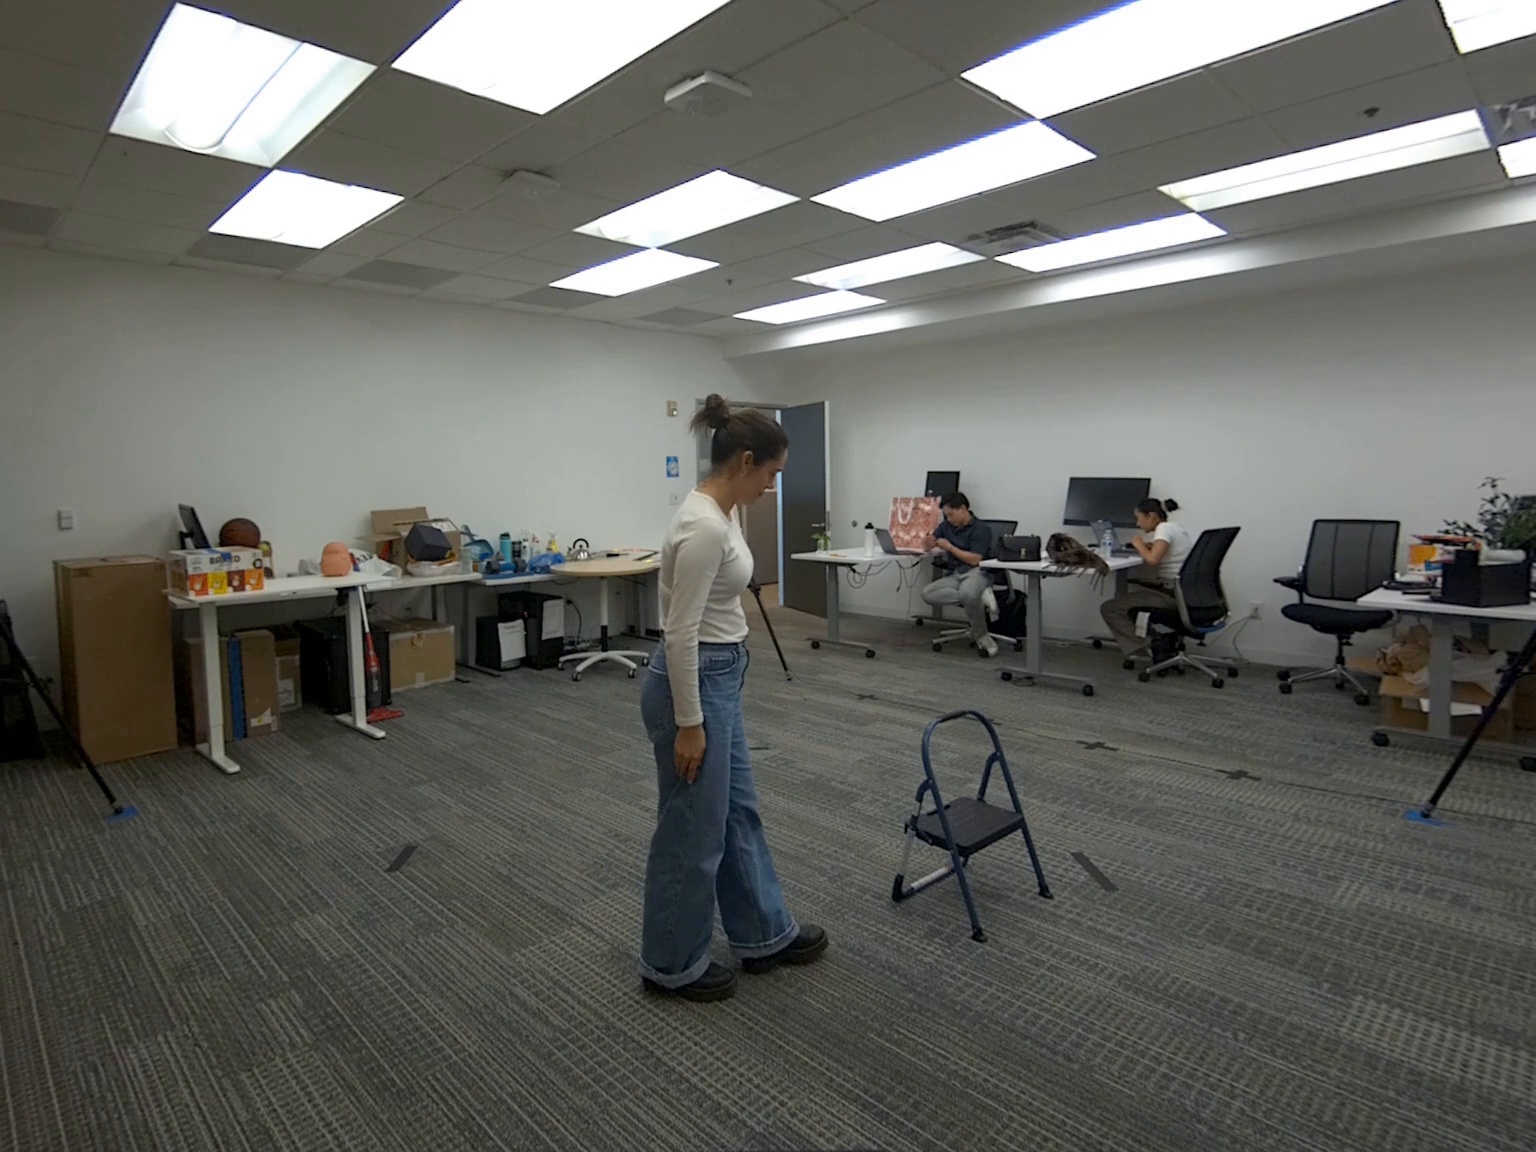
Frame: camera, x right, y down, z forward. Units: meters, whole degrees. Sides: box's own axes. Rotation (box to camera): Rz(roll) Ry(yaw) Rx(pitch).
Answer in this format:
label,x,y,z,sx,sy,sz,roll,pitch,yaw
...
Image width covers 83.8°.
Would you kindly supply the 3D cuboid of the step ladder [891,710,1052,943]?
label,x,y,z,sx,sy,sz,roll,pitch,yaw
step ladder,0.672,0.763,2.801,0.419,0.604,0.360,-4,6,-43
